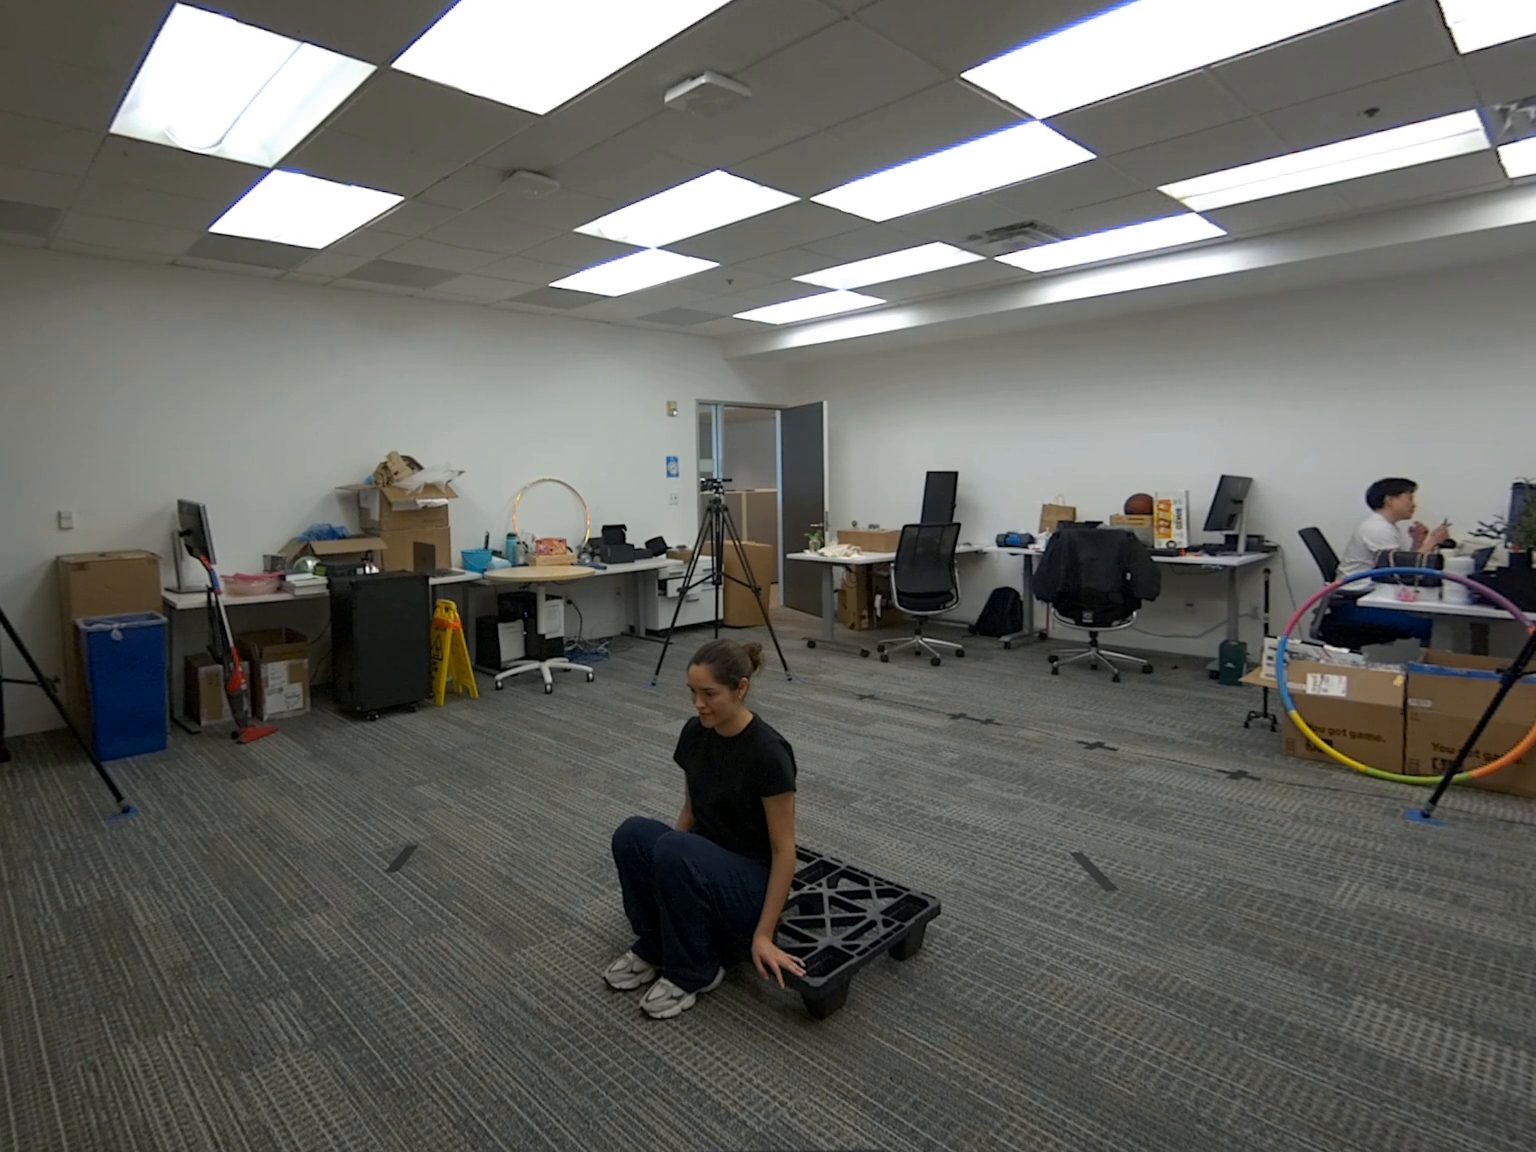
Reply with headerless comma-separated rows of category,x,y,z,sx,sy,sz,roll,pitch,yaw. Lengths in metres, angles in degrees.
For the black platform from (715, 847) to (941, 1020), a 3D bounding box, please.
black platform,0.033,1.028,2.642,0.831,0.143,0.589,5,8,44
